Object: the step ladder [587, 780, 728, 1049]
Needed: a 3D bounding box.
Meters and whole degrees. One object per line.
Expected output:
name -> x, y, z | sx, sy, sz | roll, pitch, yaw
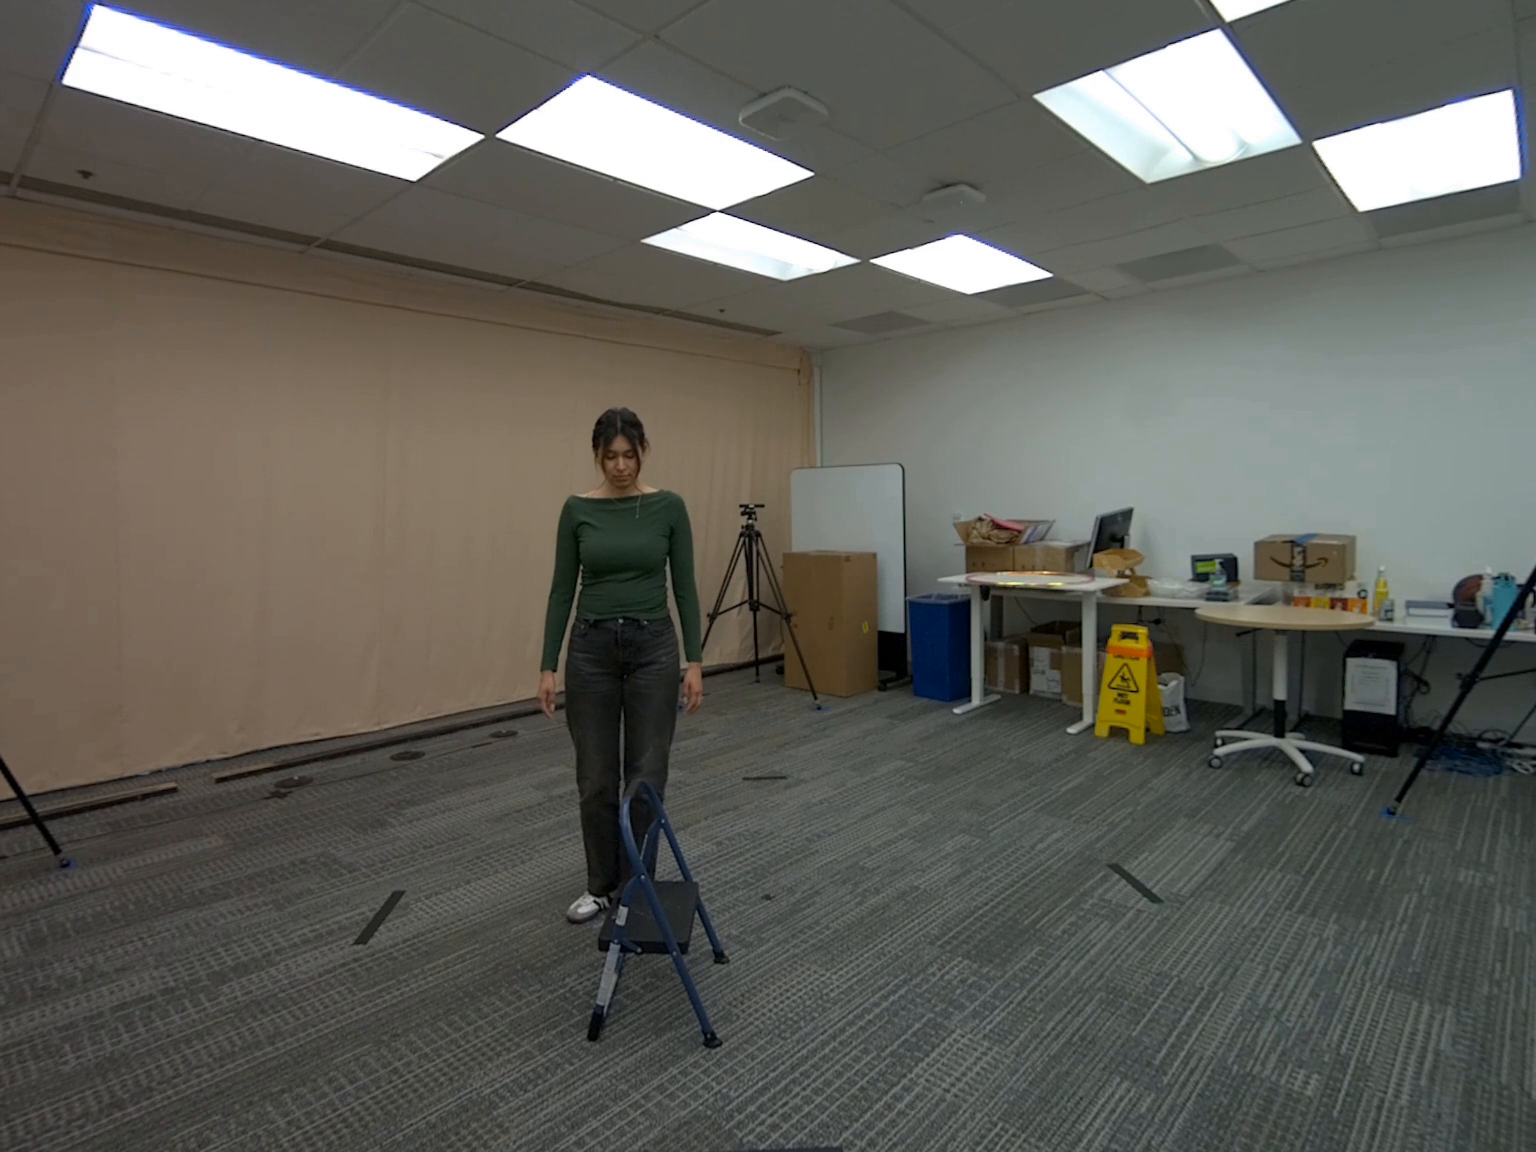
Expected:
step ladder -> -0.299, 0.898, 2.370 | 0.350, 0.605, 0.430 | 0, 3, 1
